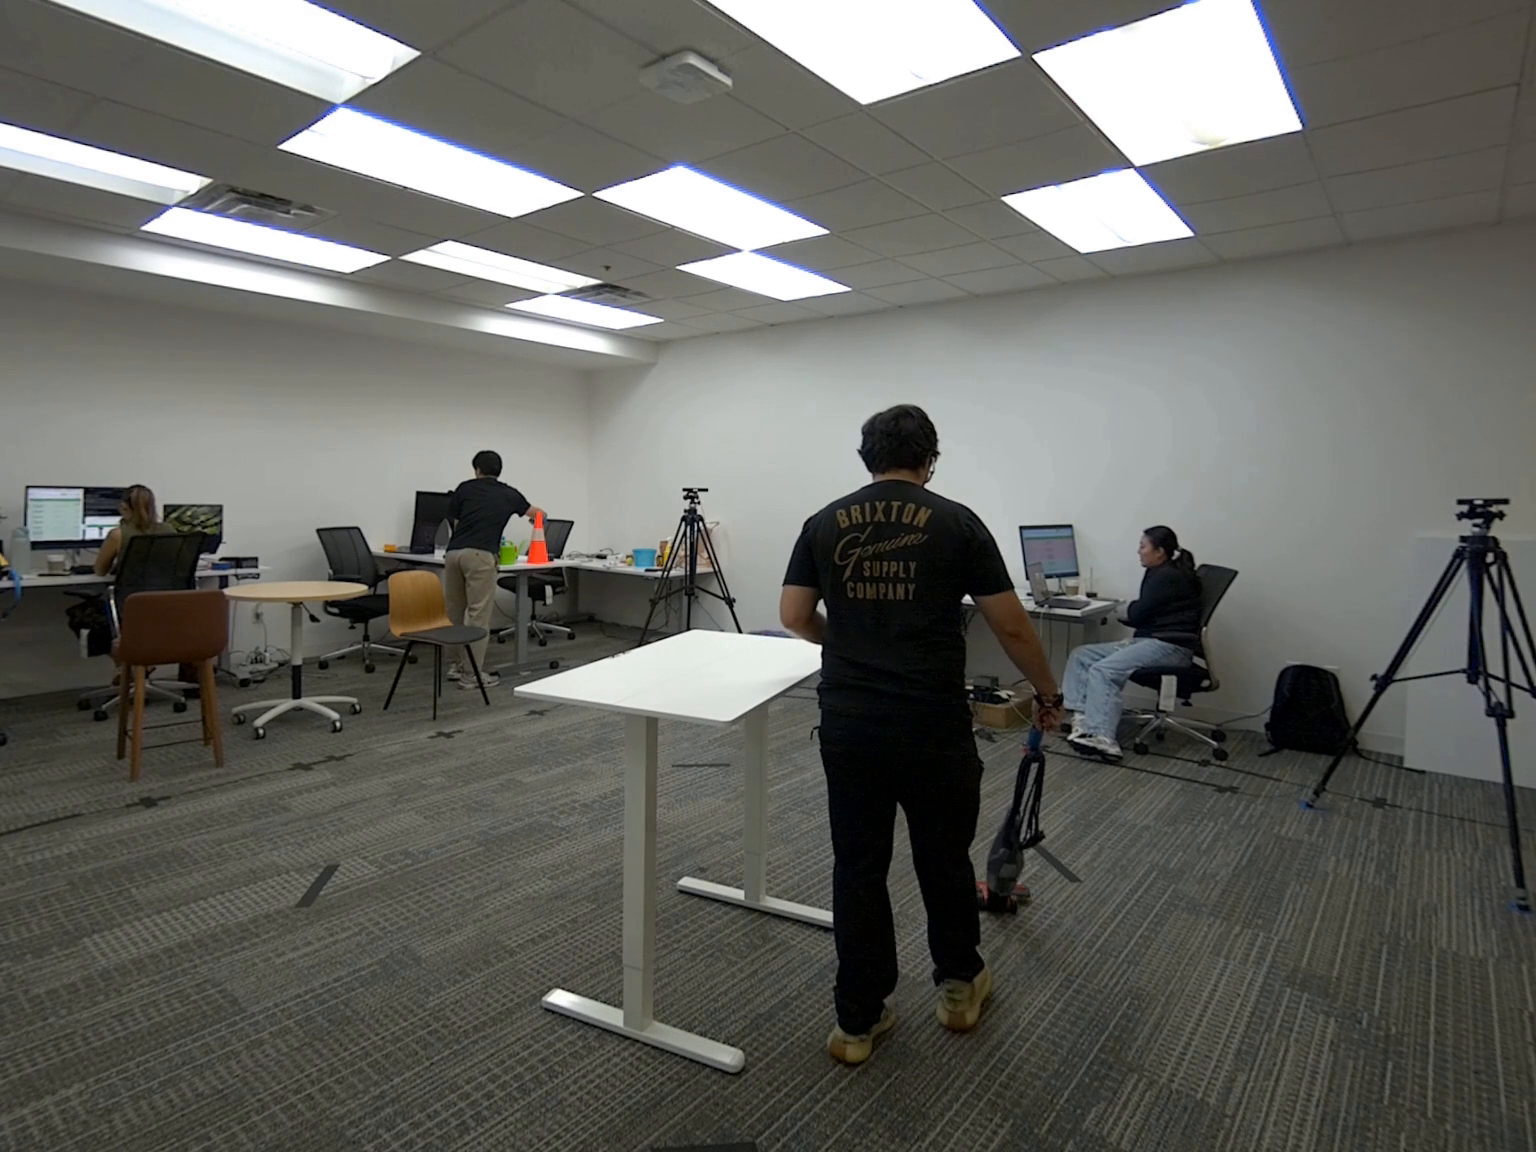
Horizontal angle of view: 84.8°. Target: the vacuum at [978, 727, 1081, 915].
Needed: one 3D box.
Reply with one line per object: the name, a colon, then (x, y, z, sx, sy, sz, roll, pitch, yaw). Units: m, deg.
vacuum: (0.737, 0.734, 2.568, 0.255, 1.016, 0.147, 2, 44, 7)
